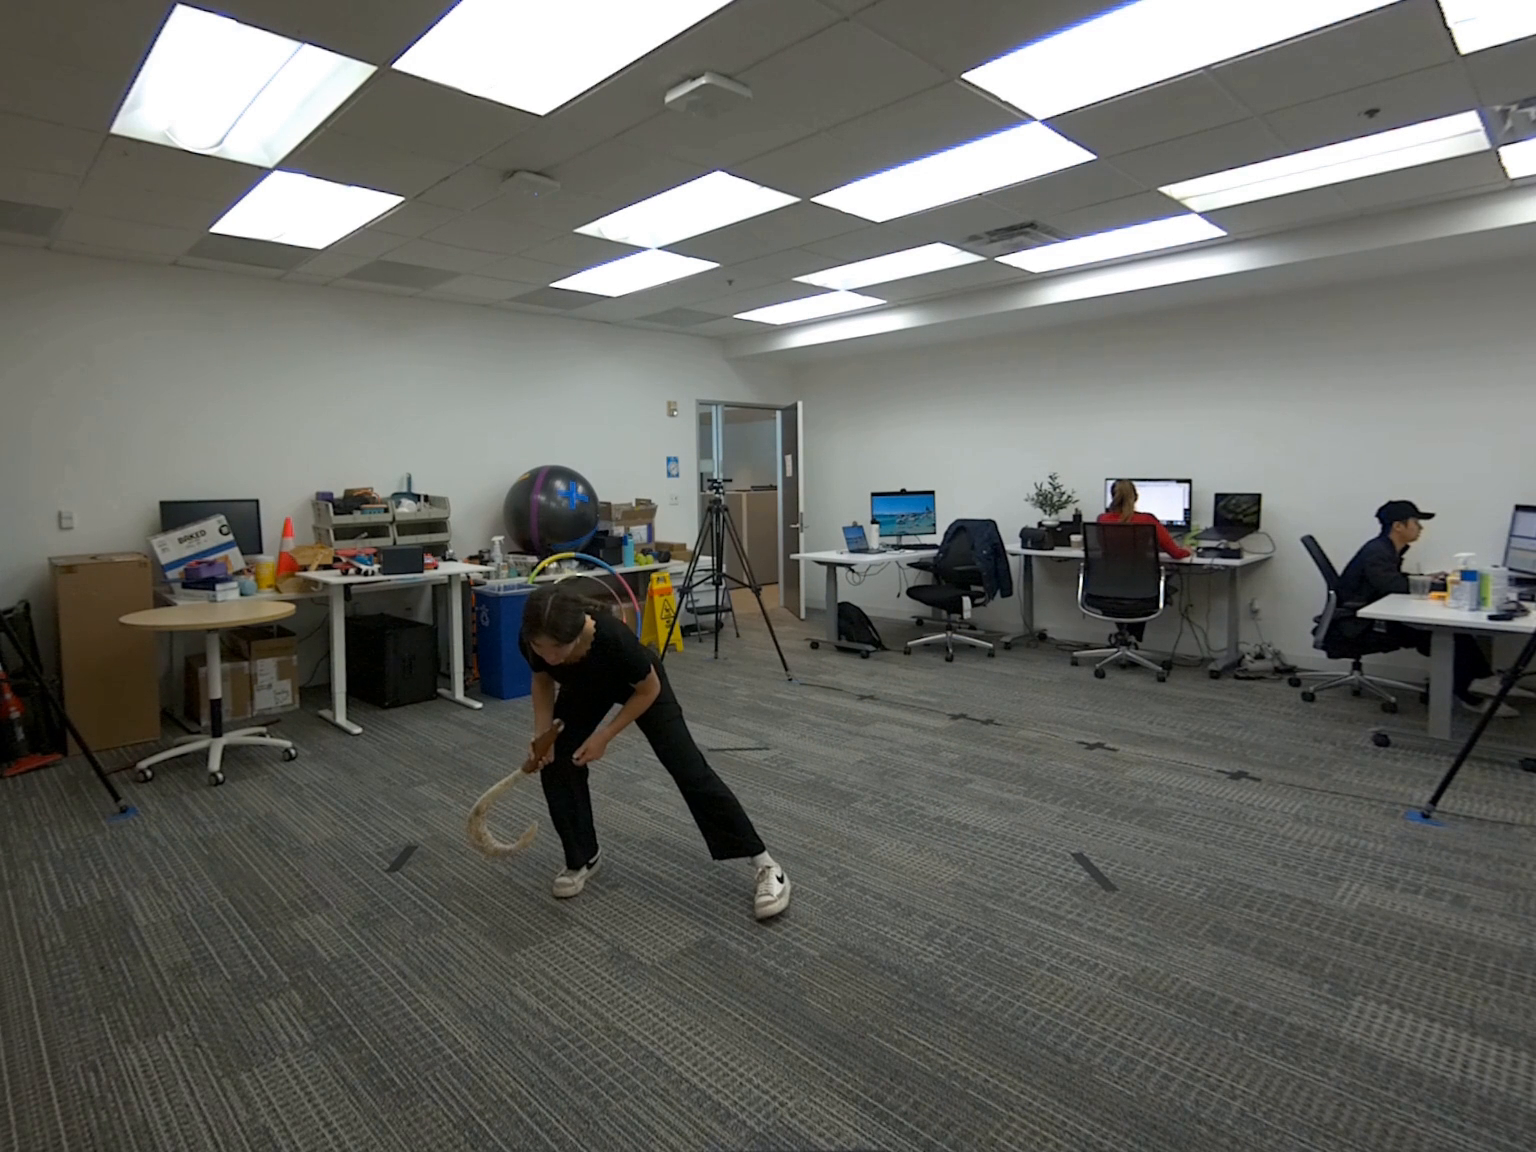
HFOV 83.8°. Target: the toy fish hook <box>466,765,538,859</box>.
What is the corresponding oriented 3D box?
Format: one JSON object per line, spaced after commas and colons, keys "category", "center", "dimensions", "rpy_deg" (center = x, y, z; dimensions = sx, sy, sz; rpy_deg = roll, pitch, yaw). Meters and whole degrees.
{"category": "toy fish hook", "center": [-0.789, 0.695, 2.779], "dimensions": [0.225, 0.506, 0.048], "rpy_deg": [37, 4, 0]}
